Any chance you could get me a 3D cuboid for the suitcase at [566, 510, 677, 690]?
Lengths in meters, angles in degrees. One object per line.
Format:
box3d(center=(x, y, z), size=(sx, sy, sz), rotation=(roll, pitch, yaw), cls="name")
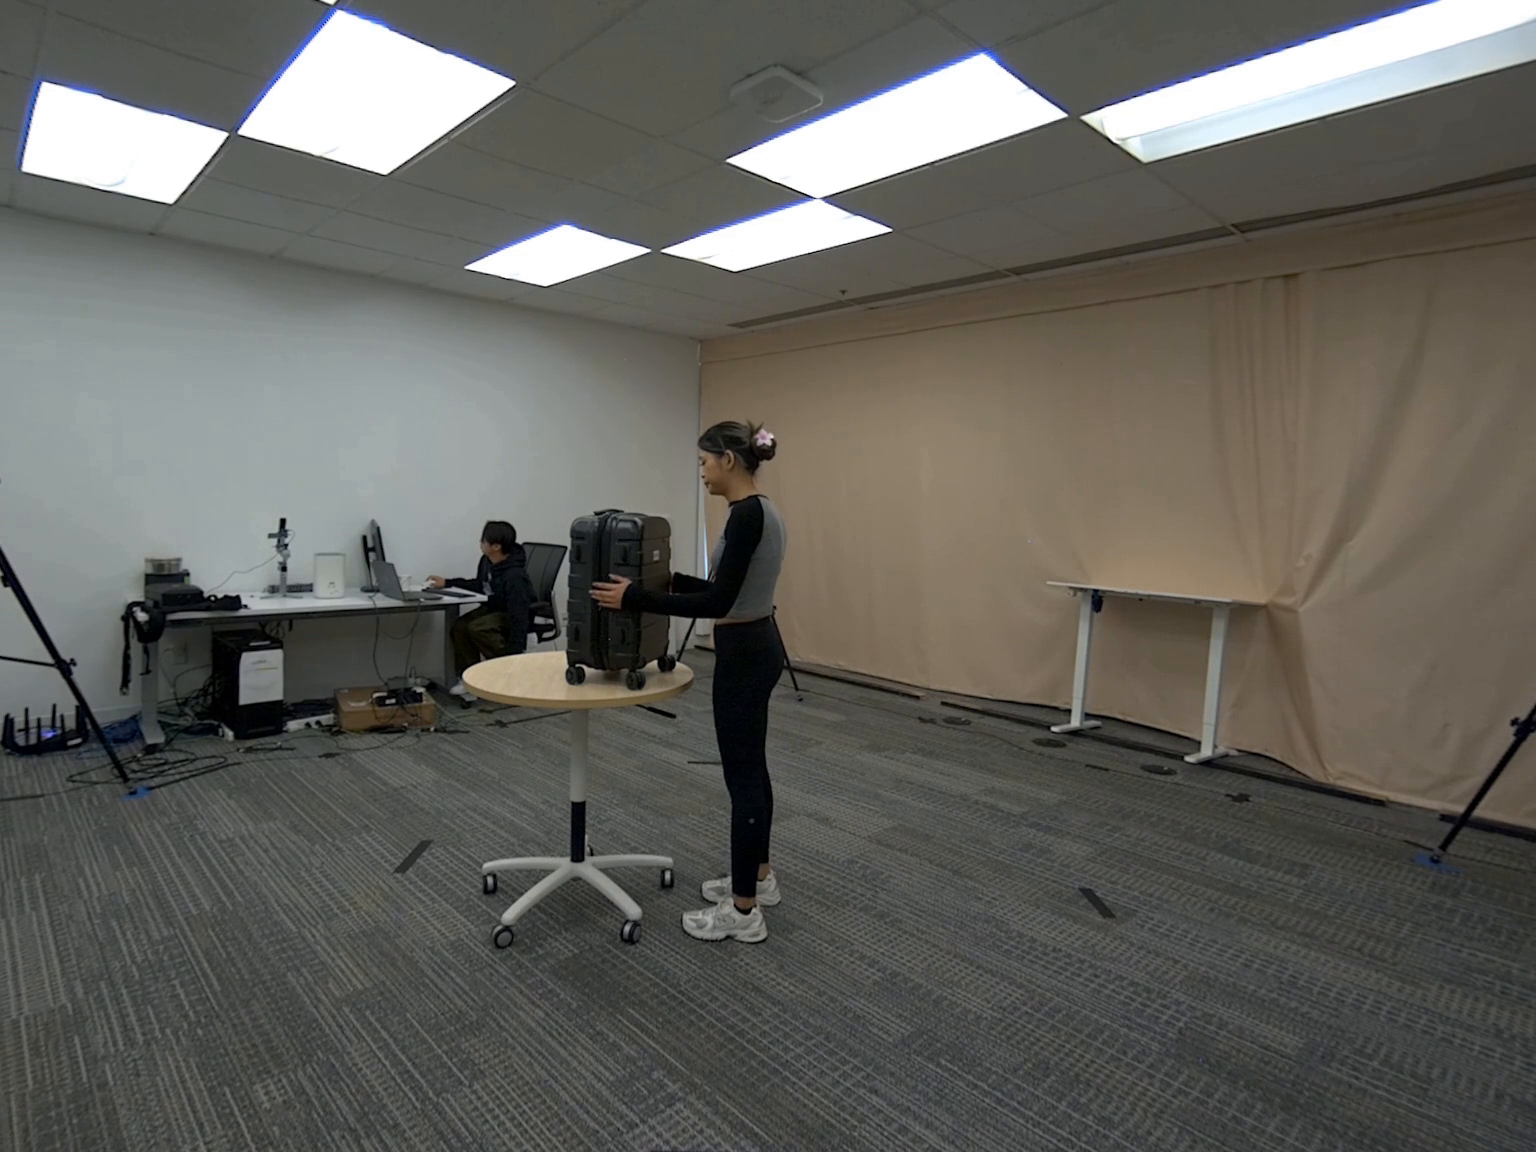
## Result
box3d(center=(-0.485, 0.058, 2.796), size=(0.251, 0.548, 0.372), rotation=(2, 3, 13), cls="suitcase")
